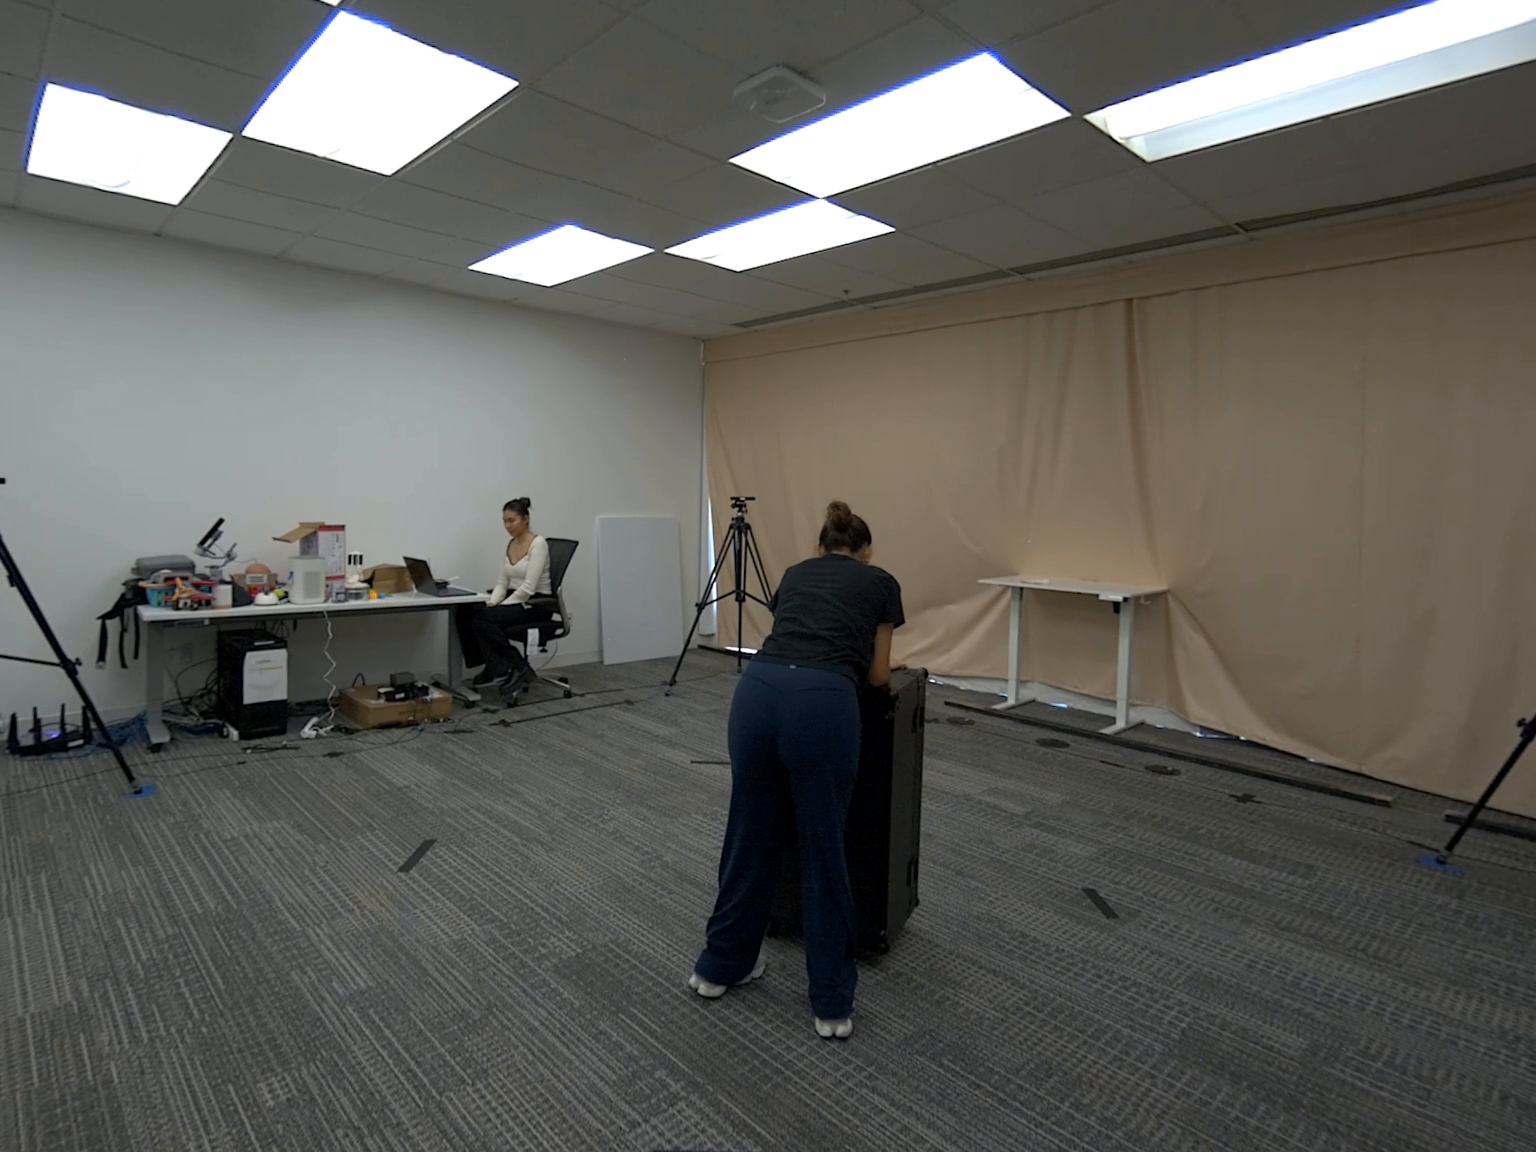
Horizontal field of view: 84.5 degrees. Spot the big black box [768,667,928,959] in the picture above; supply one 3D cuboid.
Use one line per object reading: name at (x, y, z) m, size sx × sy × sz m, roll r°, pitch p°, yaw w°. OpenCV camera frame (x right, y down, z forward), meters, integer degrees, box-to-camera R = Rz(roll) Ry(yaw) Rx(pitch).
big black box at (0.207, 0.668, 2.681) m, size 0.532 × 0.859 × 0.389 m, roll 4°, pitch 4°, yaw 26°
